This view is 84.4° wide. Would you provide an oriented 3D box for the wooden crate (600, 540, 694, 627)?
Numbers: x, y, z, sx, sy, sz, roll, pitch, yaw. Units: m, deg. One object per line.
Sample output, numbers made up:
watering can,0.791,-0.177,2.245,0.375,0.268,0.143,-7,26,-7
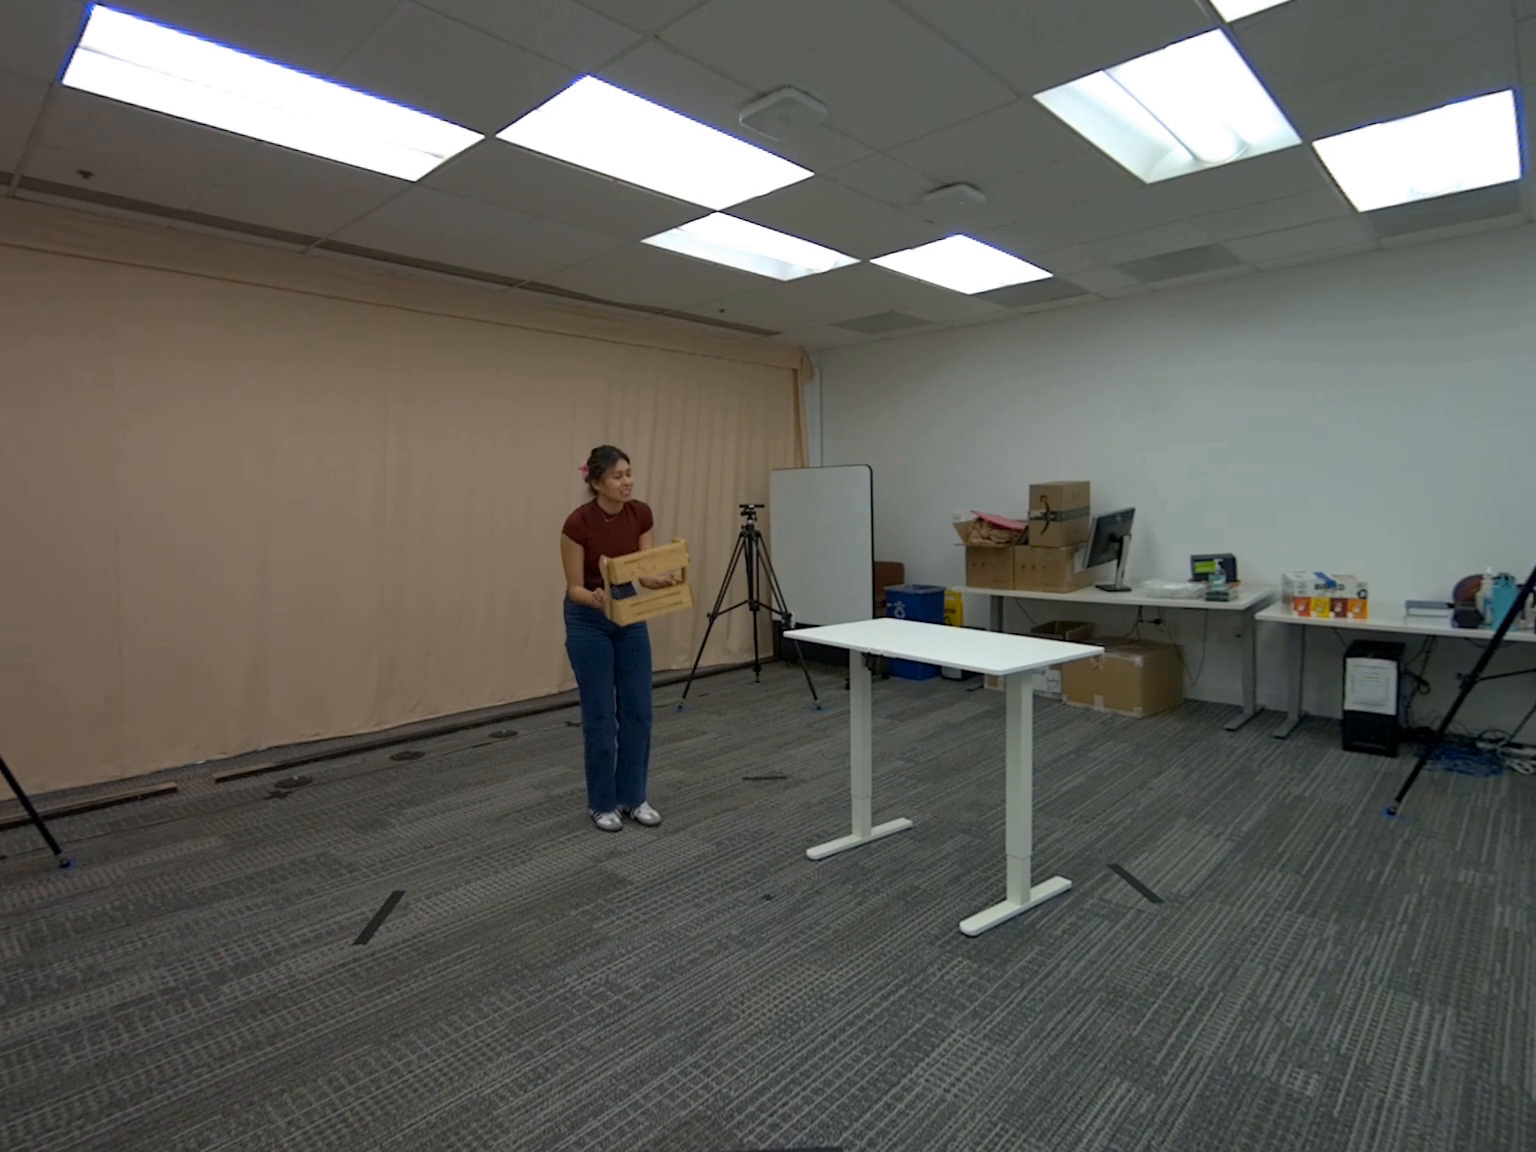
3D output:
wooden crate,-0.477,0.017,3.265,0.319,0.271,0.310,-15,13,-21
